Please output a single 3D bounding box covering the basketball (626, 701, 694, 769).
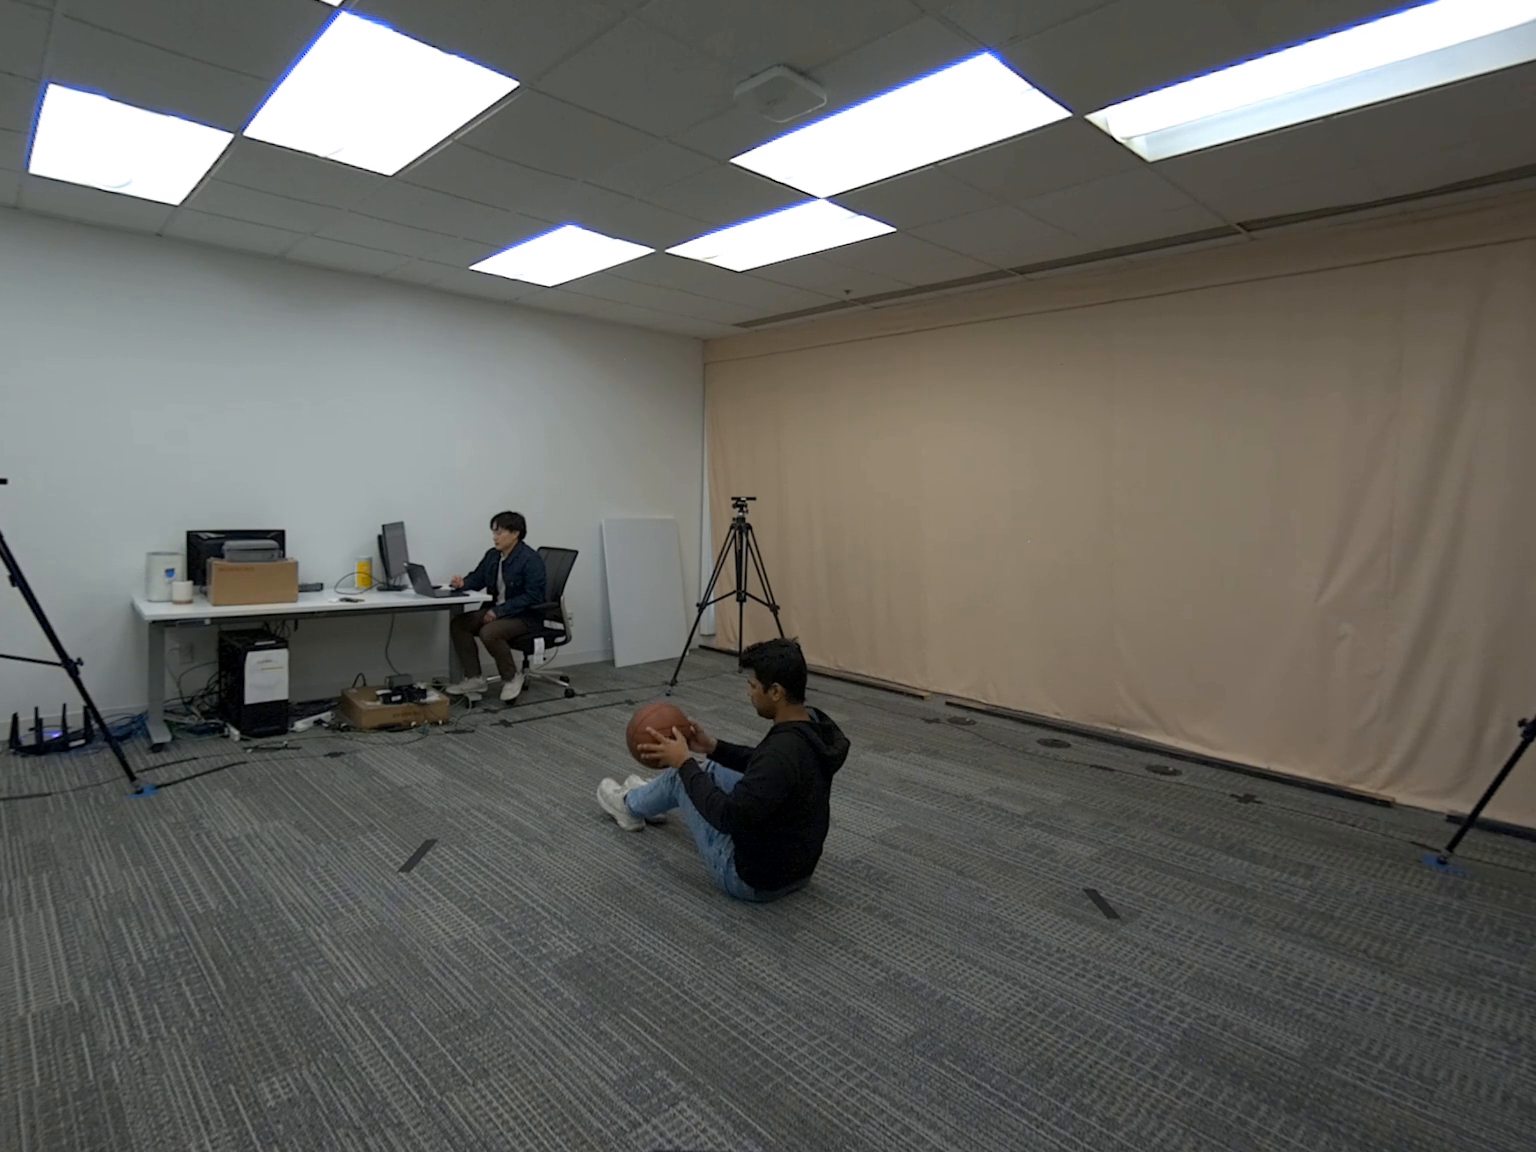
[{"bbox_3d":[-0.385,0.591,3.066,0.236,0.235,0.237,1,4,-1],"label":"basketball"}]
